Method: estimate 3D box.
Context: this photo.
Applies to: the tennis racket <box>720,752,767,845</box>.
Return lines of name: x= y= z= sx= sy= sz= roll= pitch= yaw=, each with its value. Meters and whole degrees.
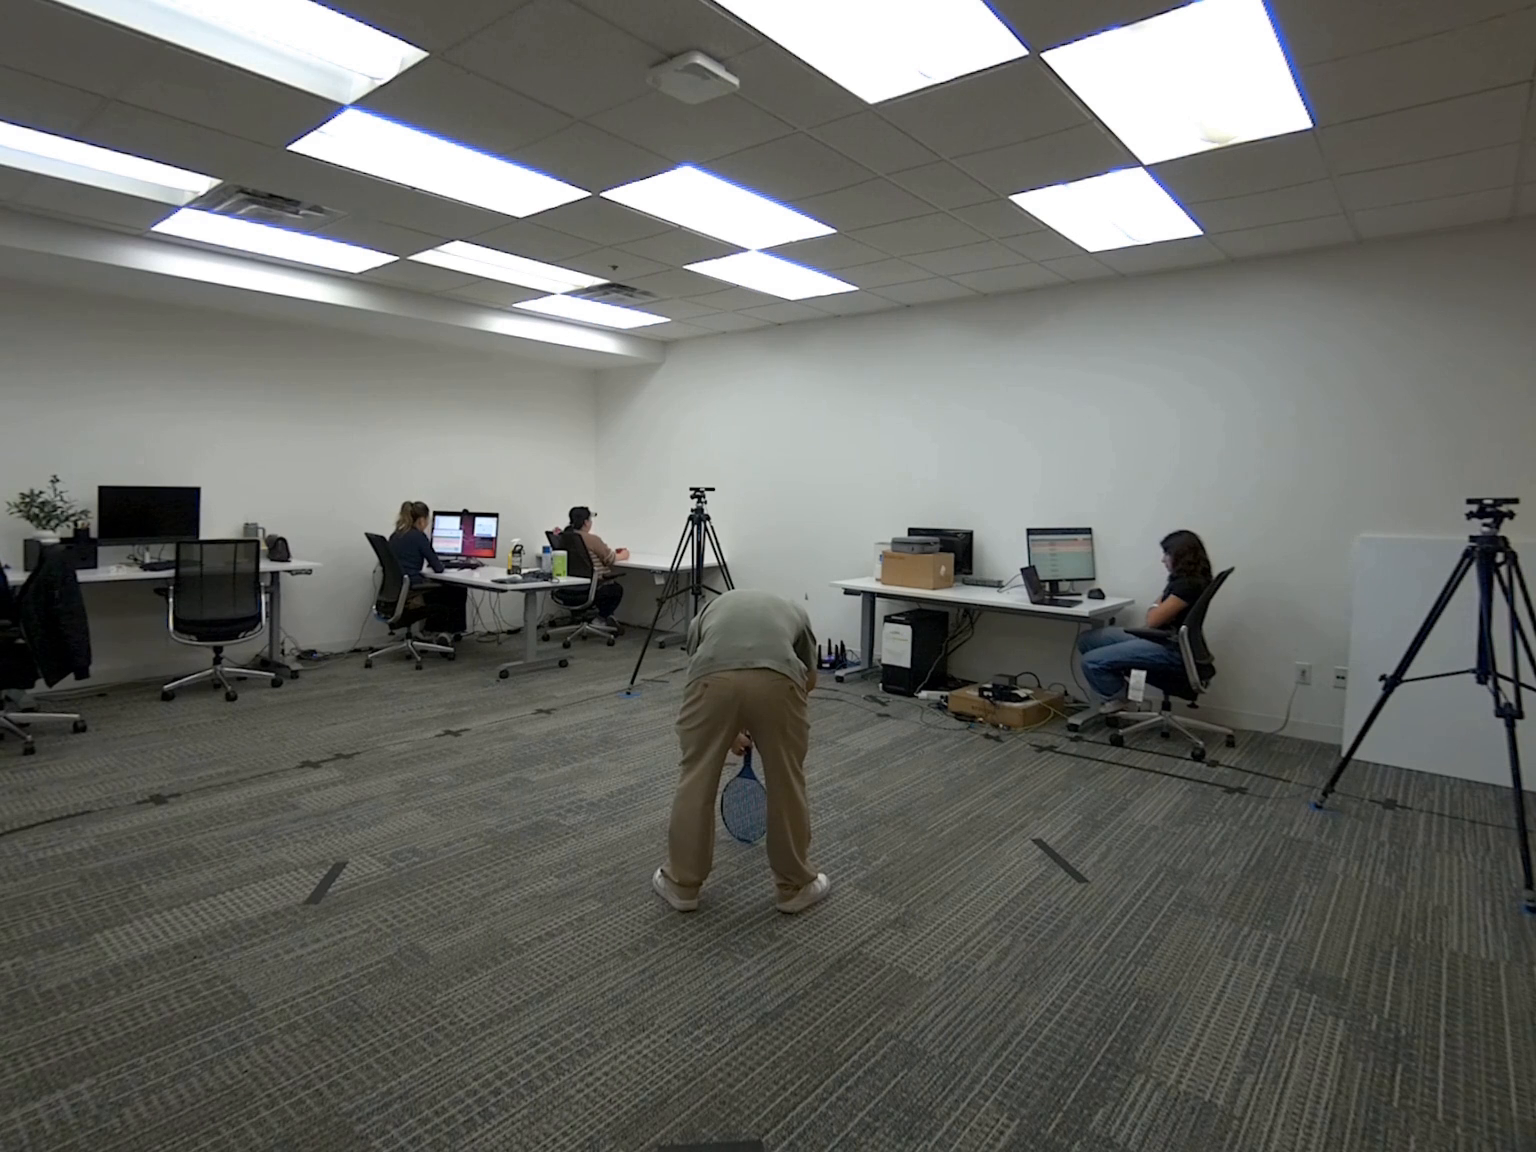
tennis racket: x=-0.092 y=0.829 z=3.336 sx=0.219 sy=0.430 sz=0.031 roll=4 pitch=6 yaw=24
